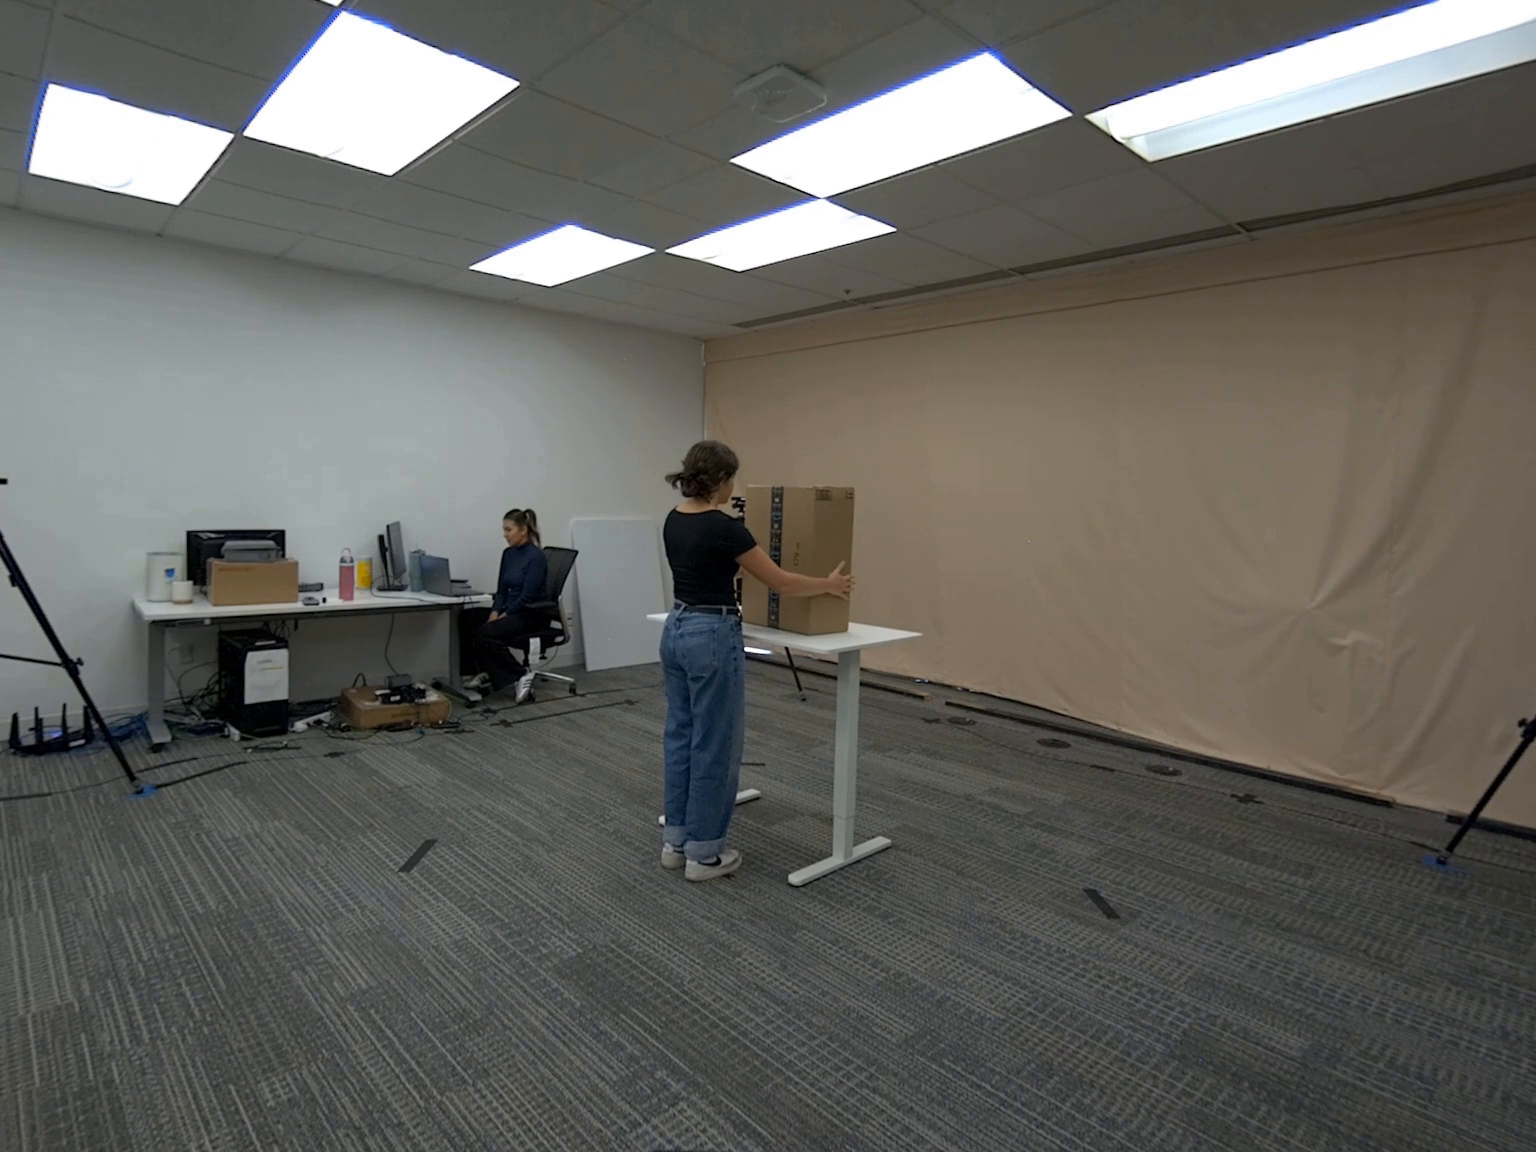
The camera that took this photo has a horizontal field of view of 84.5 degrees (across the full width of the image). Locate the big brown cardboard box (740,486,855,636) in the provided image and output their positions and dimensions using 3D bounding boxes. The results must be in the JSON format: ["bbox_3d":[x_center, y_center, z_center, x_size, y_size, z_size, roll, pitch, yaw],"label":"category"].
[{"bbox_3d":[0.105,-0.084,3.383,0.228,0.587,0.428,0,5,-39],"label":"big brown cardboard box"}]
